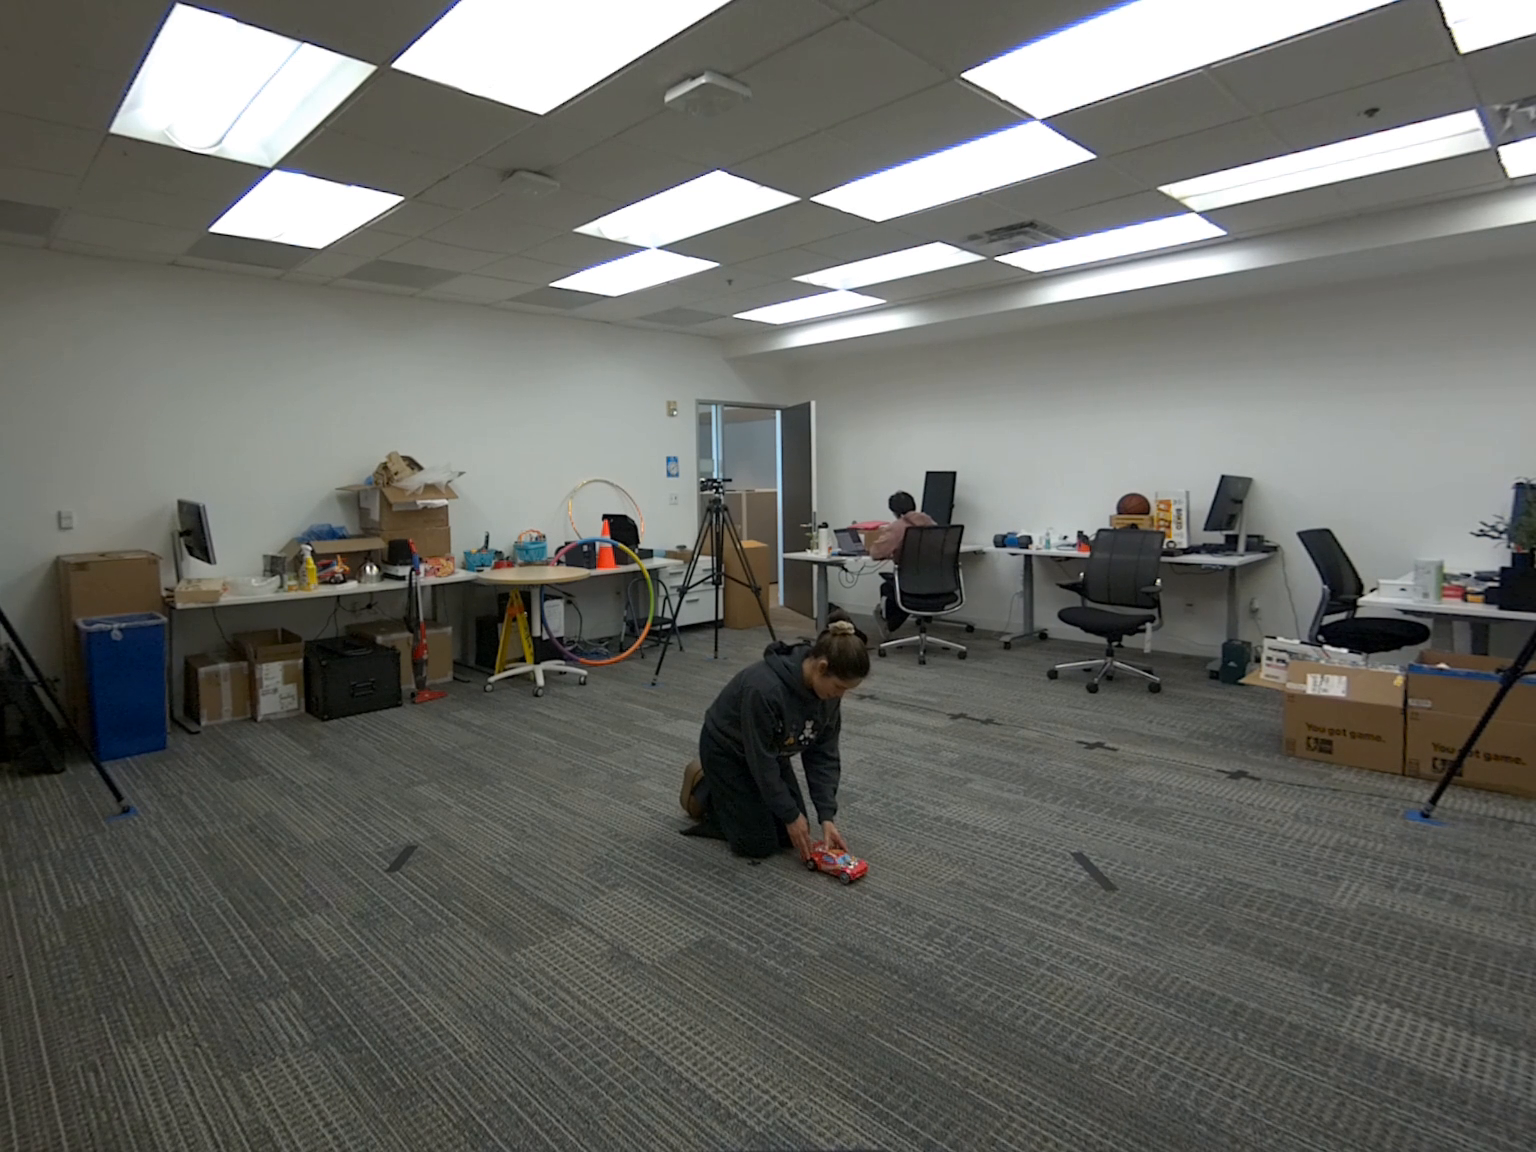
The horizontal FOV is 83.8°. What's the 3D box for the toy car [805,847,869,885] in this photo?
[{"bbox_3d":[0.231,1.020,3.019,0.127,0.082,0.263,-5,15,-45],"label":"toy car"}]
